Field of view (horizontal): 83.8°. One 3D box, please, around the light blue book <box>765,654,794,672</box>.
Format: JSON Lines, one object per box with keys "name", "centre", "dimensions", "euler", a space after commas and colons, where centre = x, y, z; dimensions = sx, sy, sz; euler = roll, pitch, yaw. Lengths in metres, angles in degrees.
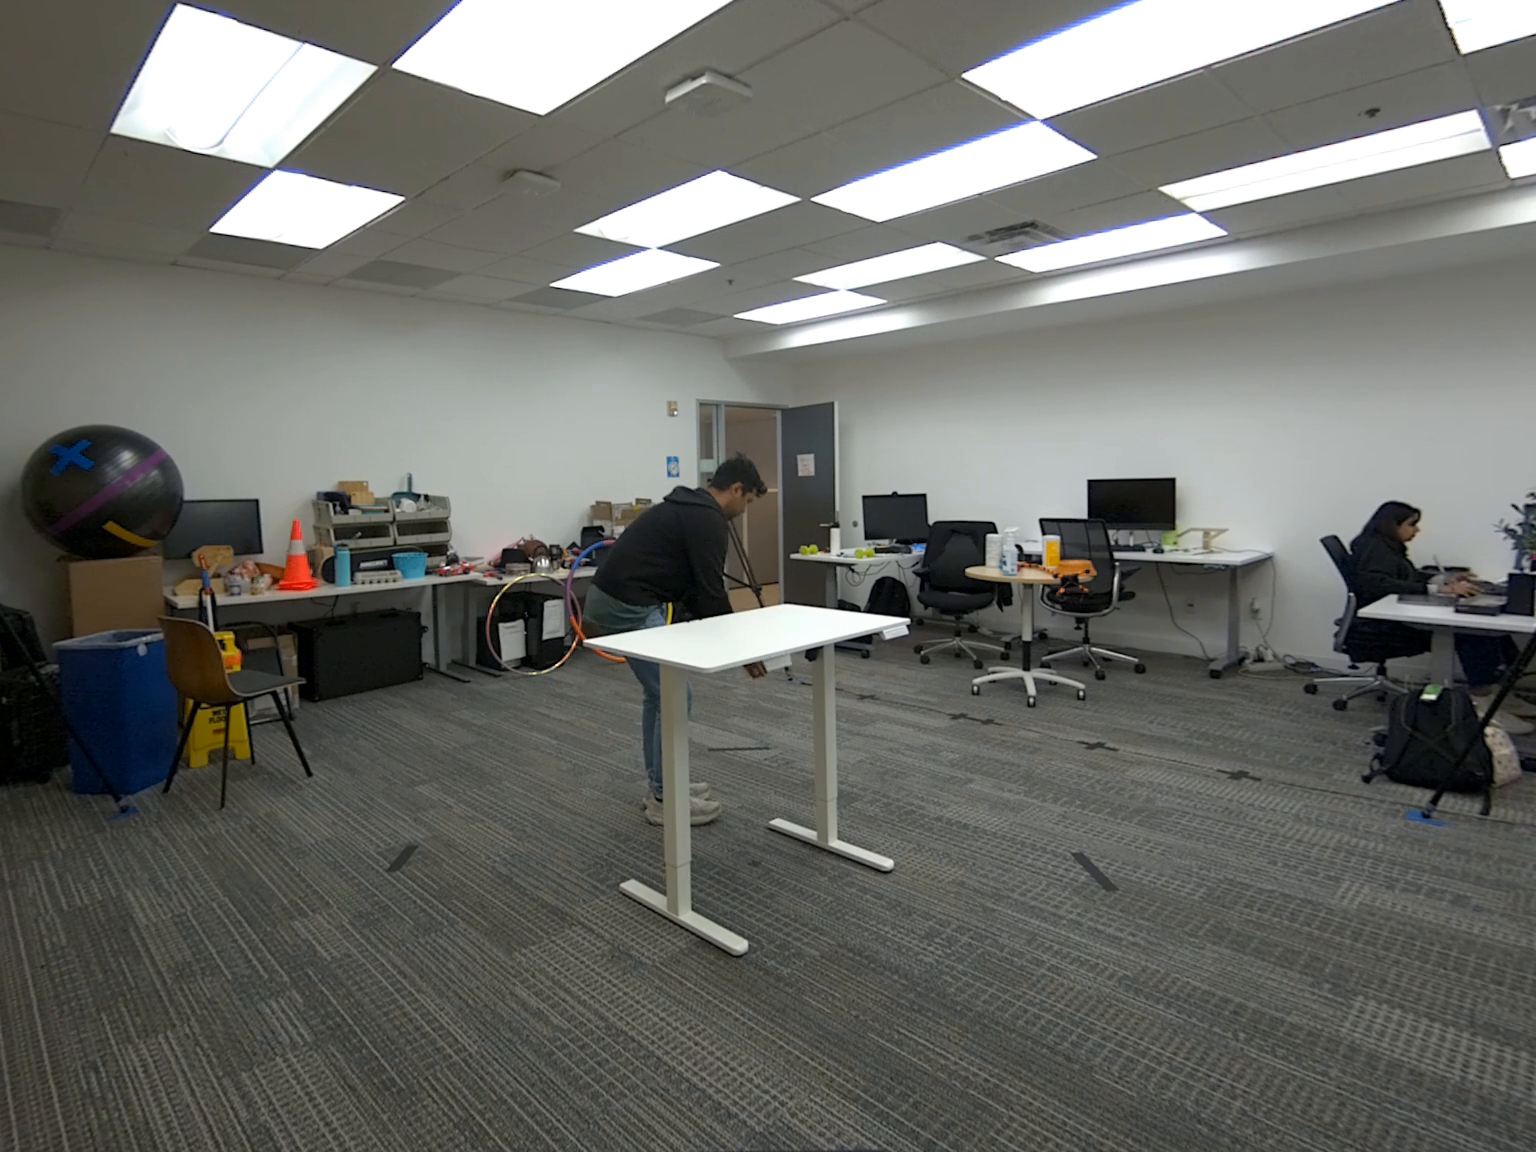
{"name": "light blue book", "centre": [-0.054, 0.369, 3.728], "dimensions": [0.258, 0.058, 0.195], "euler": [-13, 12, -16]}
